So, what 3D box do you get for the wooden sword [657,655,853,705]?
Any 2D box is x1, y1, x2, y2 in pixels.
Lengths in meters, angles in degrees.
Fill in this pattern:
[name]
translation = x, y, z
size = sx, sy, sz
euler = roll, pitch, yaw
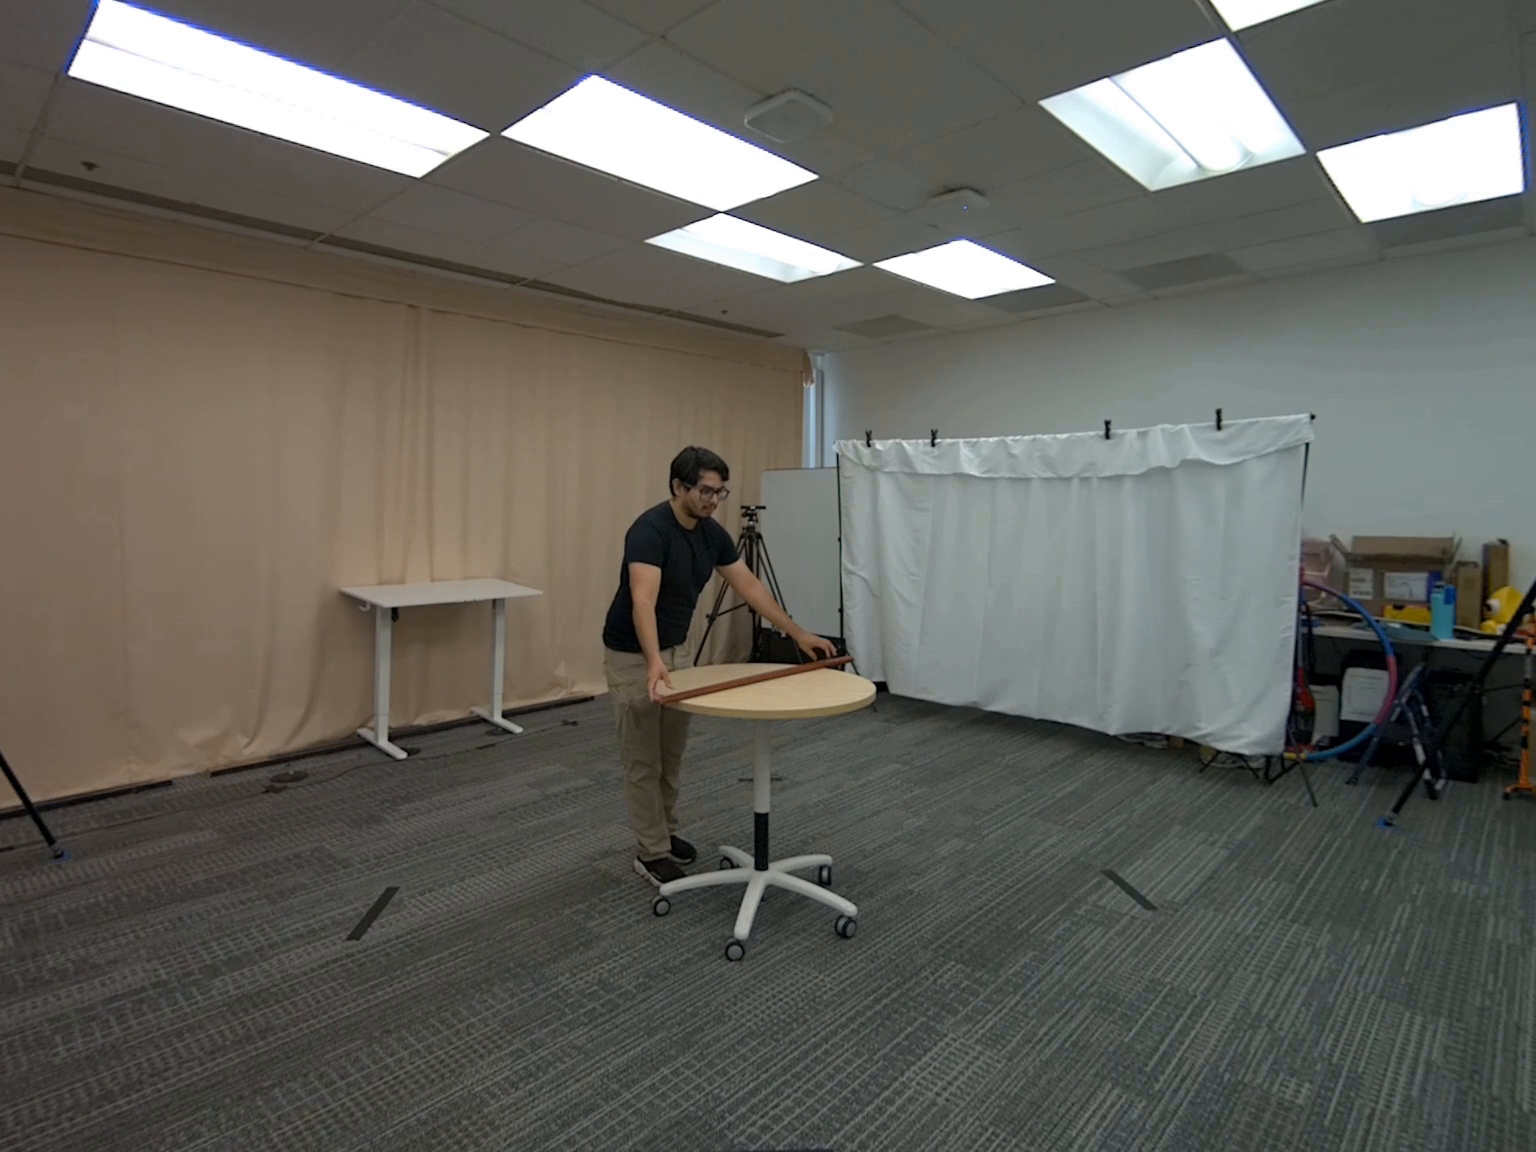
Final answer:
[wooden sword]
translation = 0.000, 0.348, 2.955
size = 0.993, 0.024, 0.053
euler = -4, 3, -42
